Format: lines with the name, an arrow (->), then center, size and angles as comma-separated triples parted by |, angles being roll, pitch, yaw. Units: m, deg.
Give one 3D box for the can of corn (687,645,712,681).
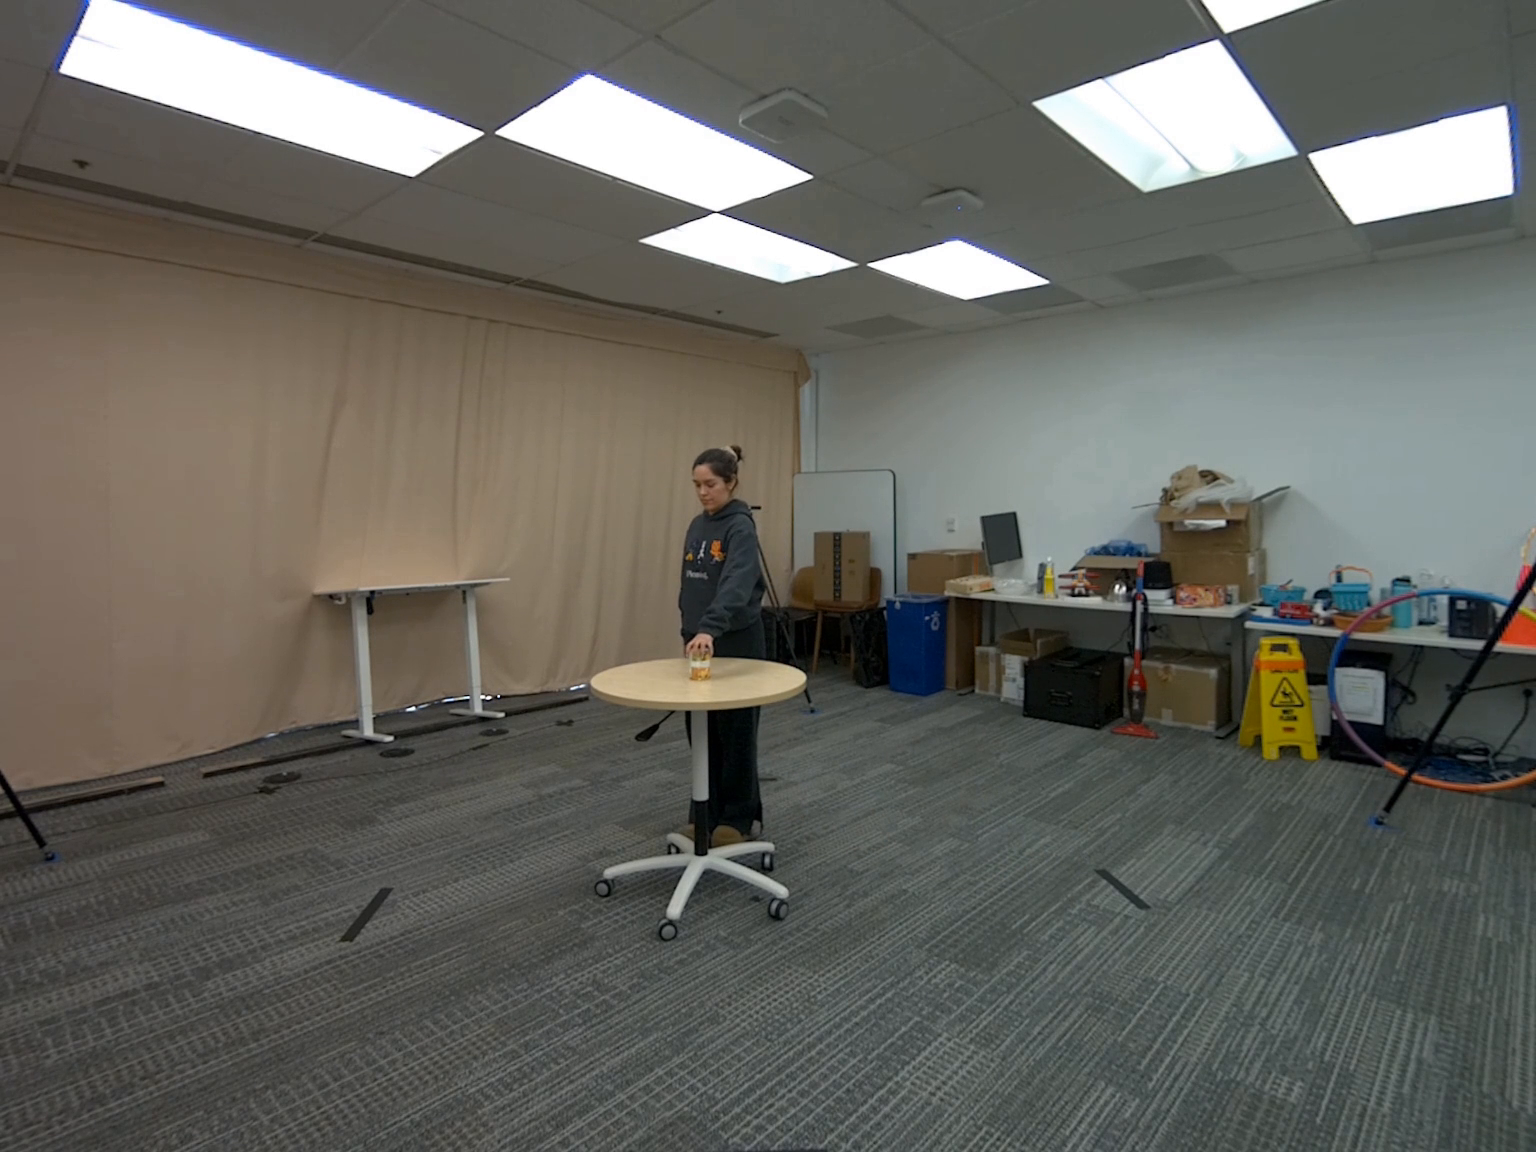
can of corn -> -0.229, 0.299, 2.979 | 0.074, 0.111, 0.074 | 3, 3, -2
